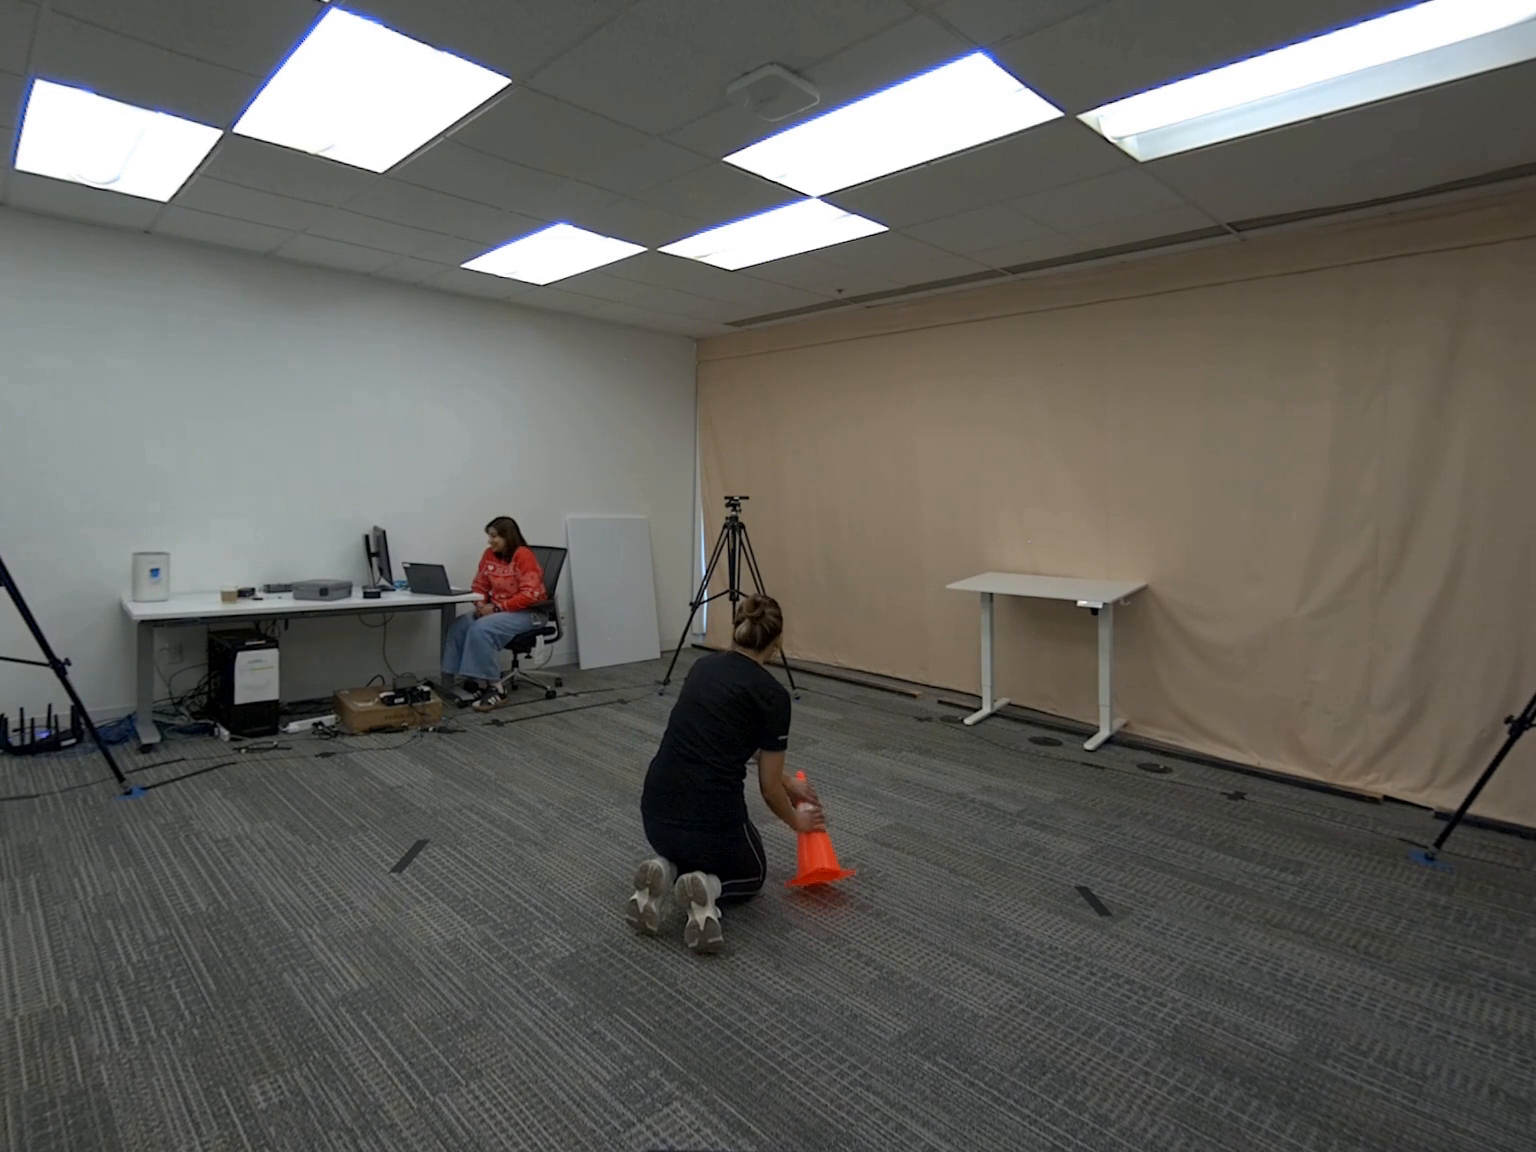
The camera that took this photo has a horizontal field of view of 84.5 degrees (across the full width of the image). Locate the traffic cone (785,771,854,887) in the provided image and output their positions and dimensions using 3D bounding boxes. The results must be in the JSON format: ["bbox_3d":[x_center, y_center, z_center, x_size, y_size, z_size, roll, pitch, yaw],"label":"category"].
[{"bbox_3d":[0.144,0.908,3.065,0.206,0.393,0.197,-35,-41,28],"label":"traffic cone"}]
